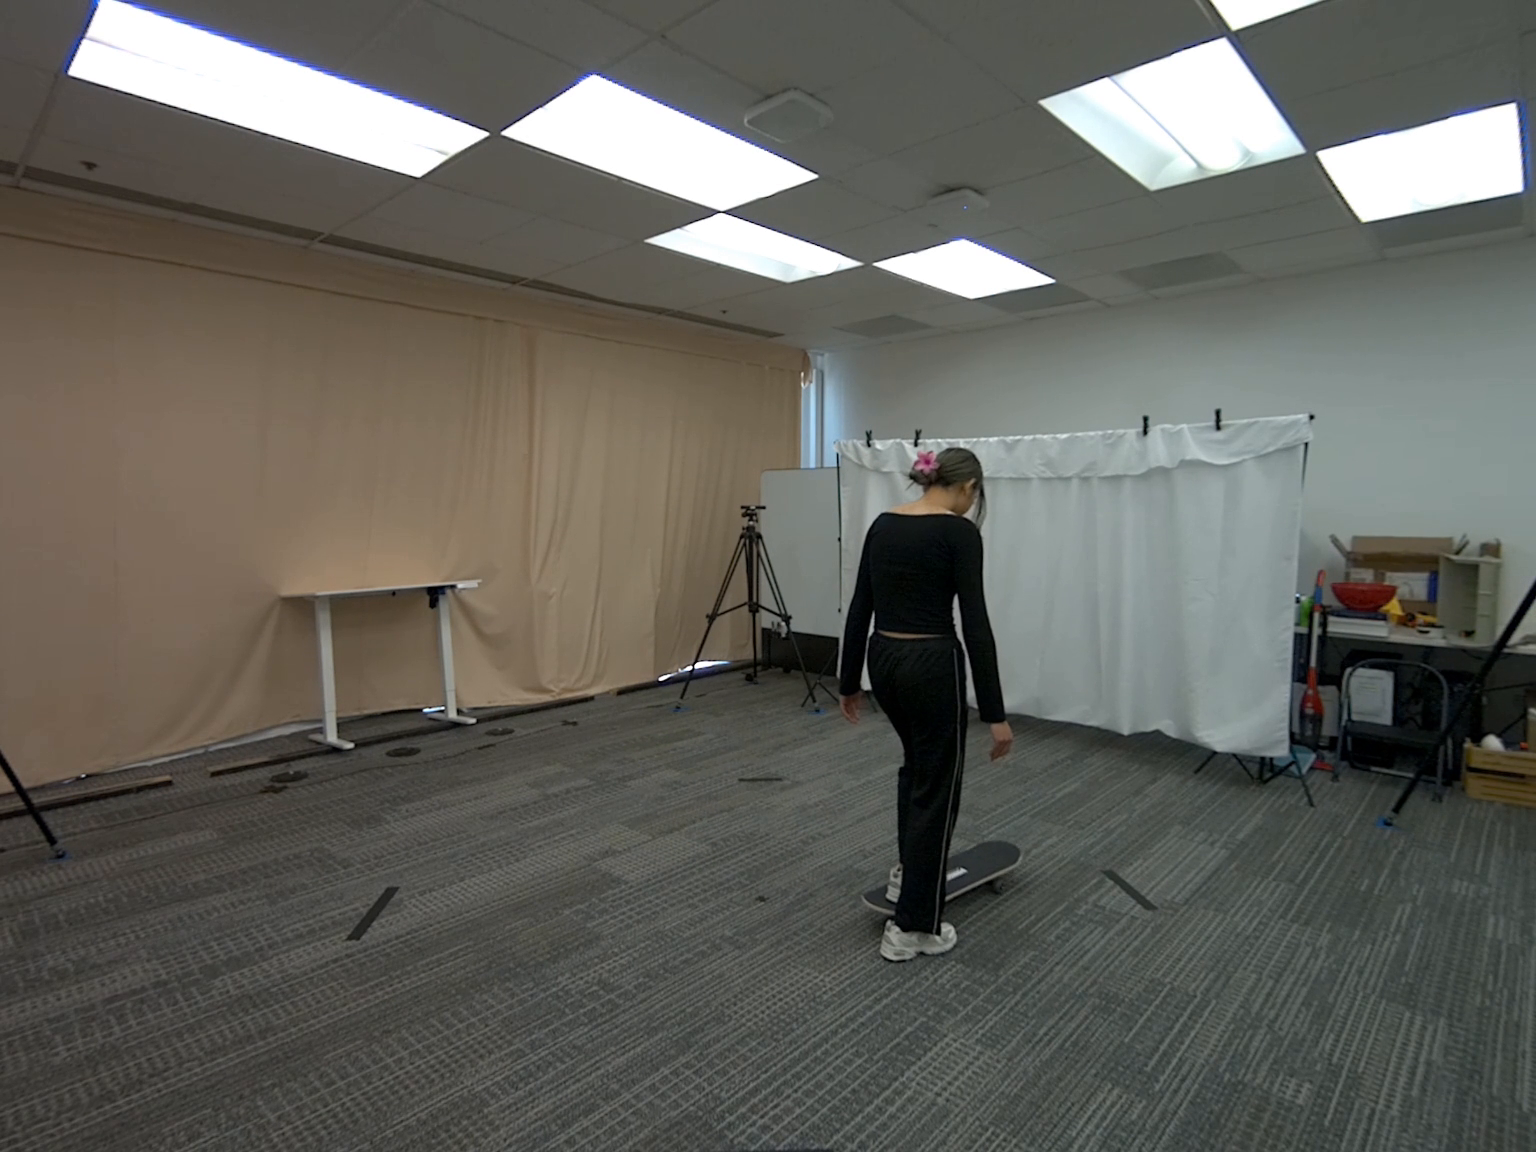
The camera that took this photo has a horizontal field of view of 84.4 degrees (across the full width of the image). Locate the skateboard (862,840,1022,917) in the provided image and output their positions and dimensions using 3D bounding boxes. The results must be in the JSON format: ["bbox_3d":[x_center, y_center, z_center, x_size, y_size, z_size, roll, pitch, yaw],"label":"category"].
[{"bbox_3d":[0.630,1.093,2.950,0.762,0.110,0.200,-4,6,-39],"label":"skateboard"}]
